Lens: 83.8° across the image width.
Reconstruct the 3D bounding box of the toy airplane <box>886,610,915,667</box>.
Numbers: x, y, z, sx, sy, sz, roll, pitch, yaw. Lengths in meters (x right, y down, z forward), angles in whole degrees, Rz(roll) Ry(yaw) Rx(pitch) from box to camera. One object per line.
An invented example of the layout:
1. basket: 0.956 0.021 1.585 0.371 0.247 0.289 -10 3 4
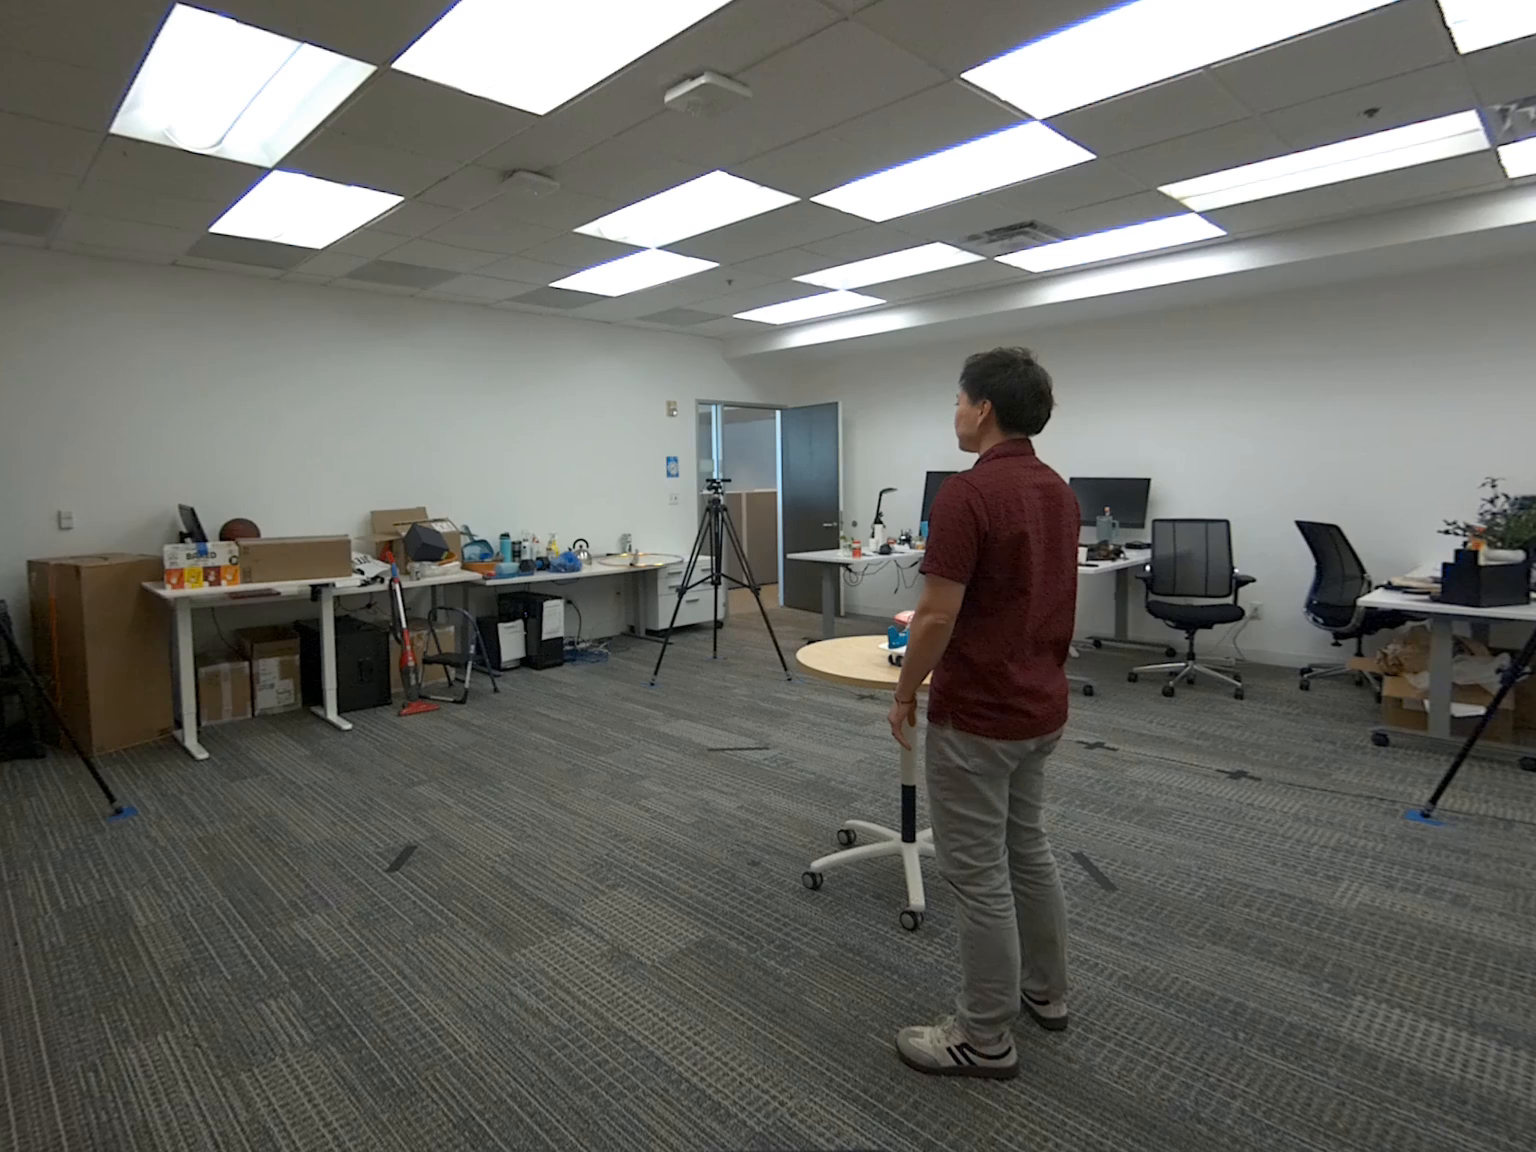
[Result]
1. toy airplane: 0.512 0.210 2.798 0.258 0.156 0.253 4 7 32
